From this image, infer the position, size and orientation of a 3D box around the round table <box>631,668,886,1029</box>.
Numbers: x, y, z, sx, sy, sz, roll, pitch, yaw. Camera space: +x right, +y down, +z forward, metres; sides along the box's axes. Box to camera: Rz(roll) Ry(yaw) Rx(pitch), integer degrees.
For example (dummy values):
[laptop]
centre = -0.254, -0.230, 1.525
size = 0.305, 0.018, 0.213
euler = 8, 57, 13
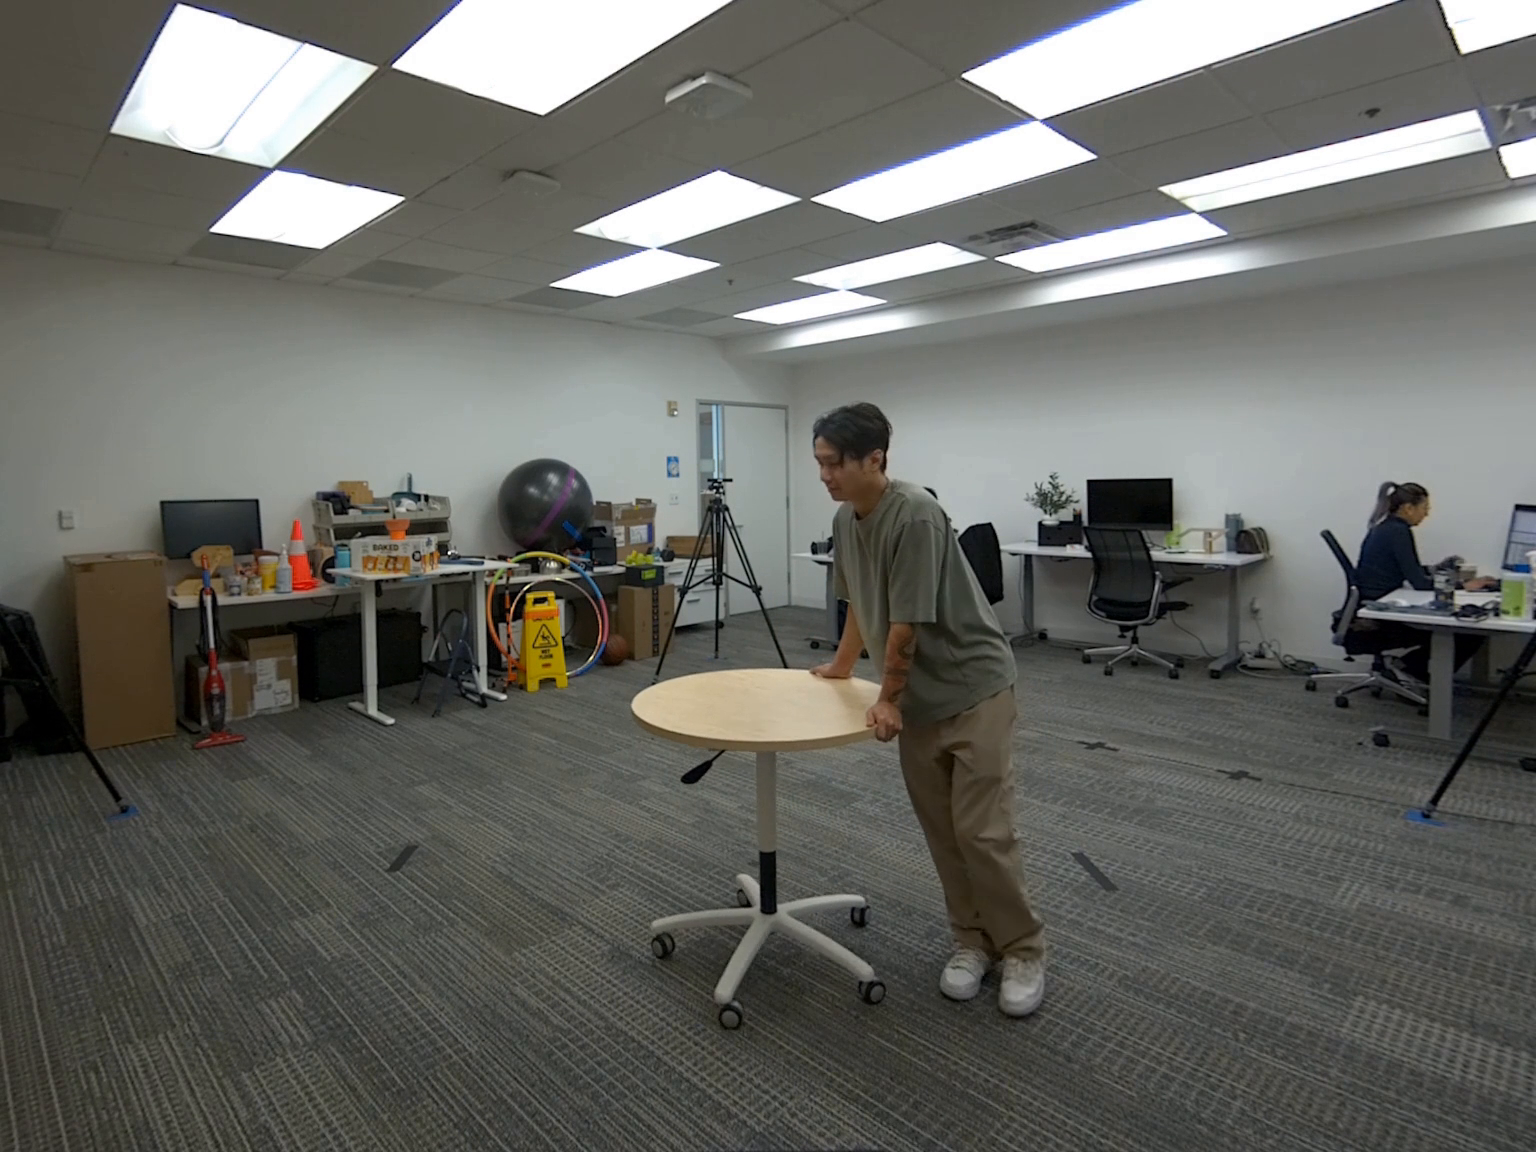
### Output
[round table]
centre = 0.006, 0.731, 2.493
size = 0.784, 0.783, 0.790
euler = -1, 6, -2
